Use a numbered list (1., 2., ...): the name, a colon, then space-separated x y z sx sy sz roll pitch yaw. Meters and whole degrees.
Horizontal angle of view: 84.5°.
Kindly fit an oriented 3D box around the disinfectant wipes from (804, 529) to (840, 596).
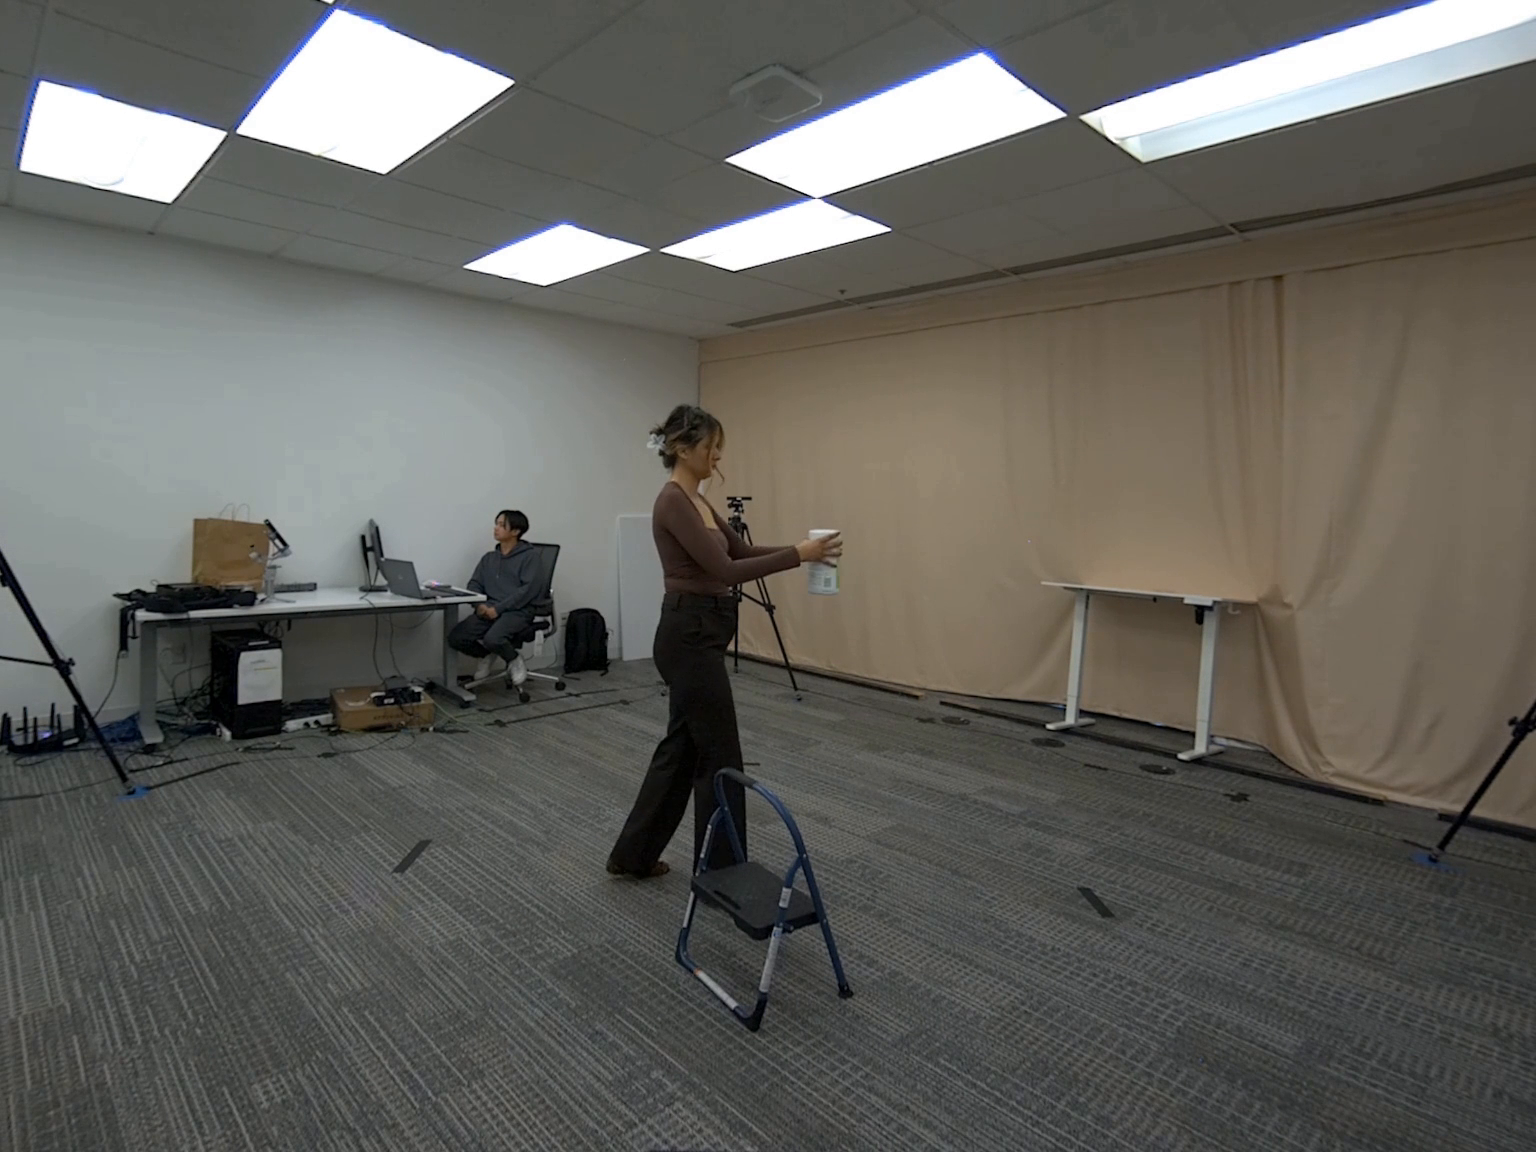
1. disinfectant wipes: 0.175 -0.055 2.887 0.118 0.216 0.118 1 8 -2
